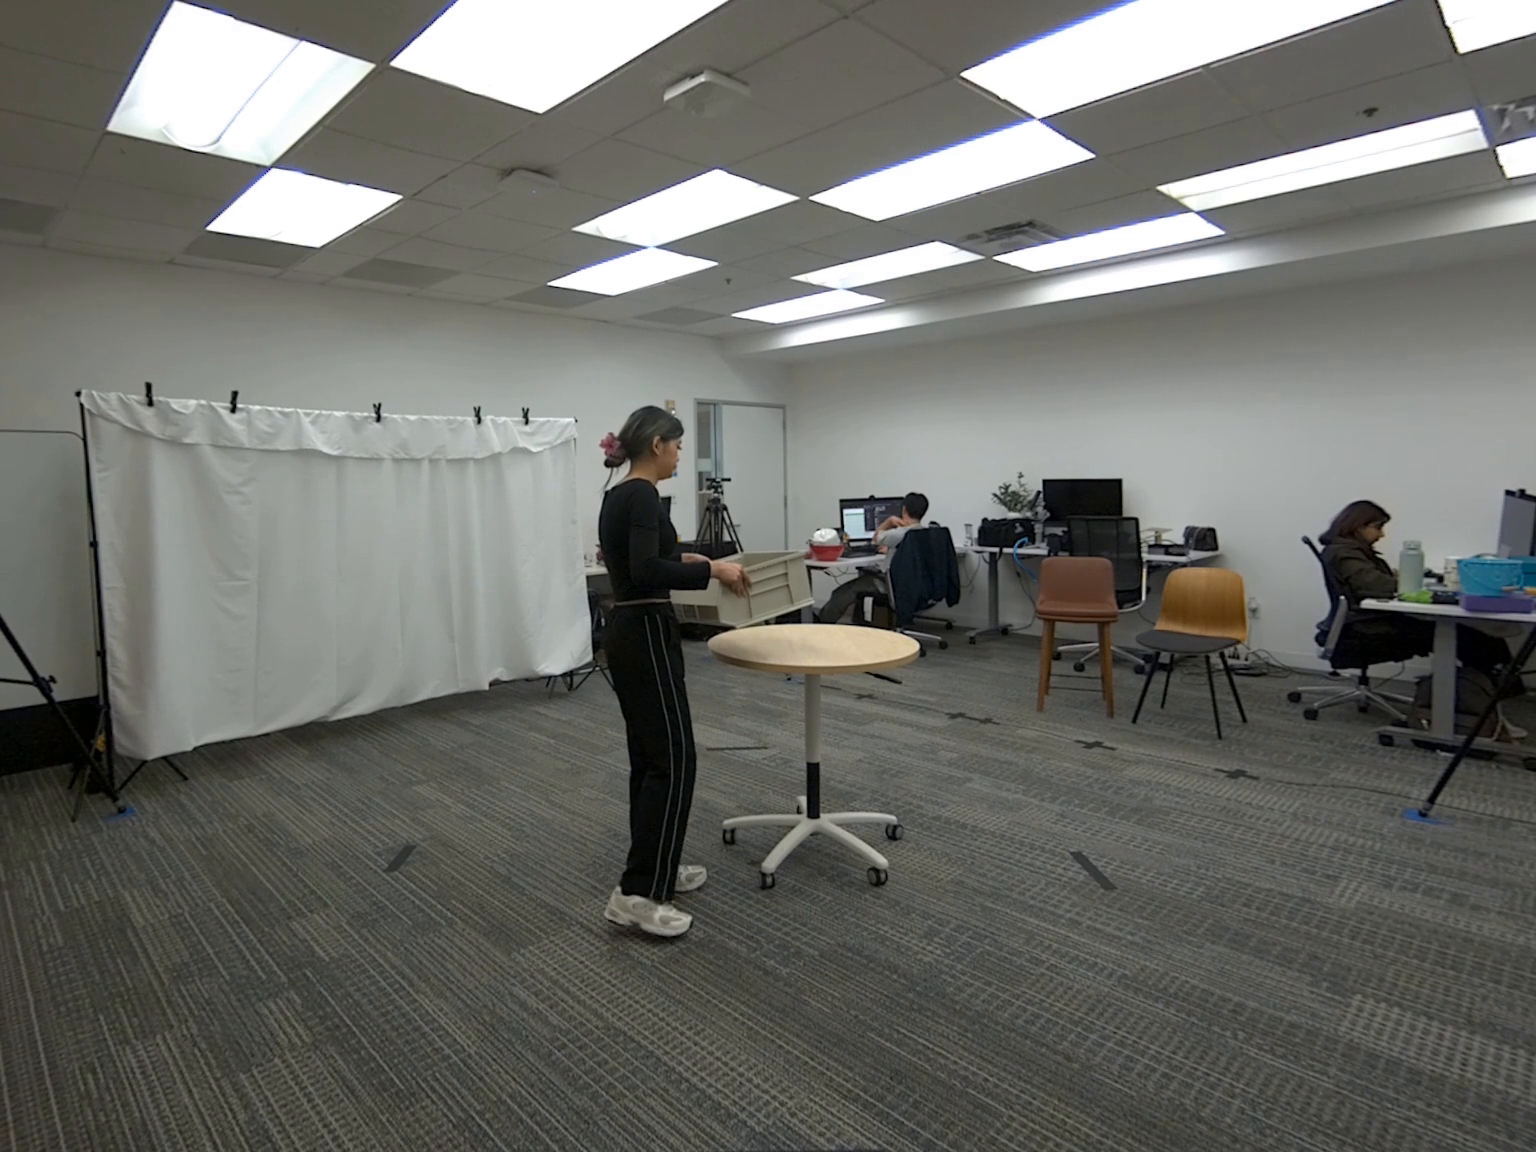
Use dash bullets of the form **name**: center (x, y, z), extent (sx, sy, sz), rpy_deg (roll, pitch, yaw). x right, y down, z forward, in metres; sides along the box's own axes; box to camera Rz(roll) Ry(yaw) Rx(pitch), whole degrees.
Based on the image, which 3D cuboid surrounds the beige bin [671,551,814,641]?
- **beige bin**: center (-0.116, 0.047, 2.924), extent (0.370, 0.188, 0.432), rpy_deg (-13, 5, -29)
